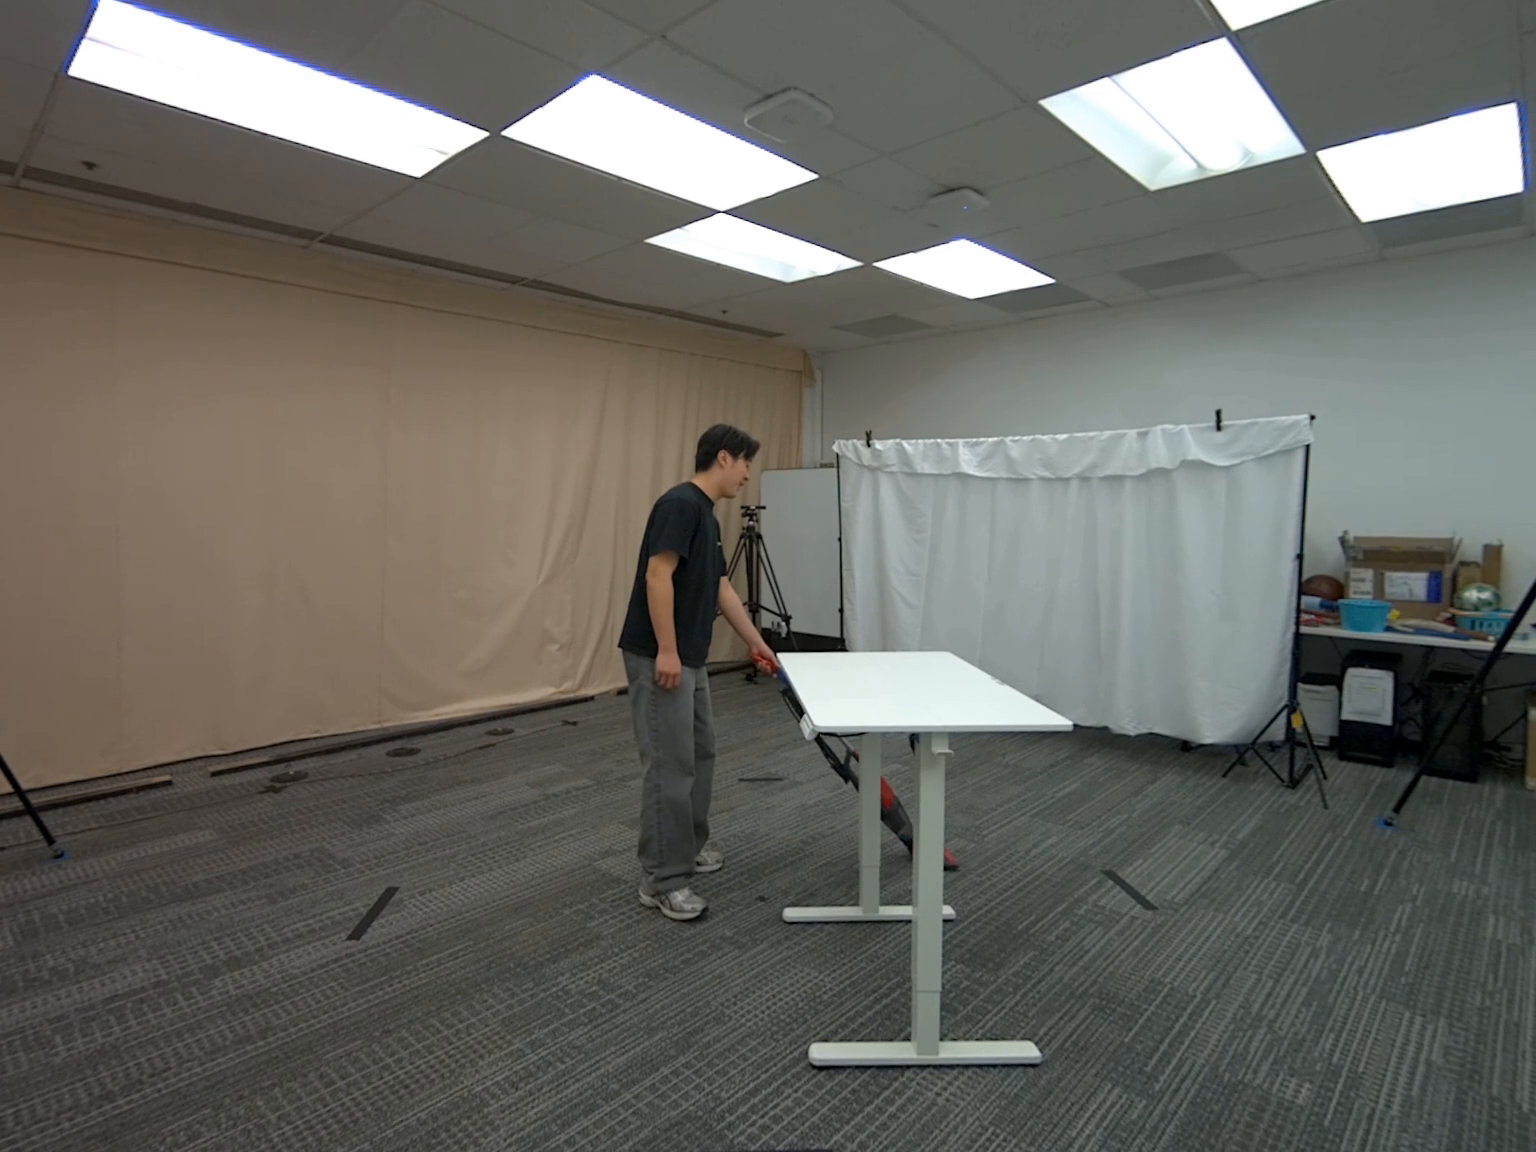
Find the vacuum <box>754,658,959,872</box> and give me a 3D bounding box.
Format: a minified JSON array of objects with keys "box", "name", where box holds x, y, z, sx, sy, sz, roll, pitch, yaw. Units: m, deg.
[{"box":[0.308,0.723,3.294,0.144,1.044,0.254,-42,4,-1],"name":"vacuum"}]
